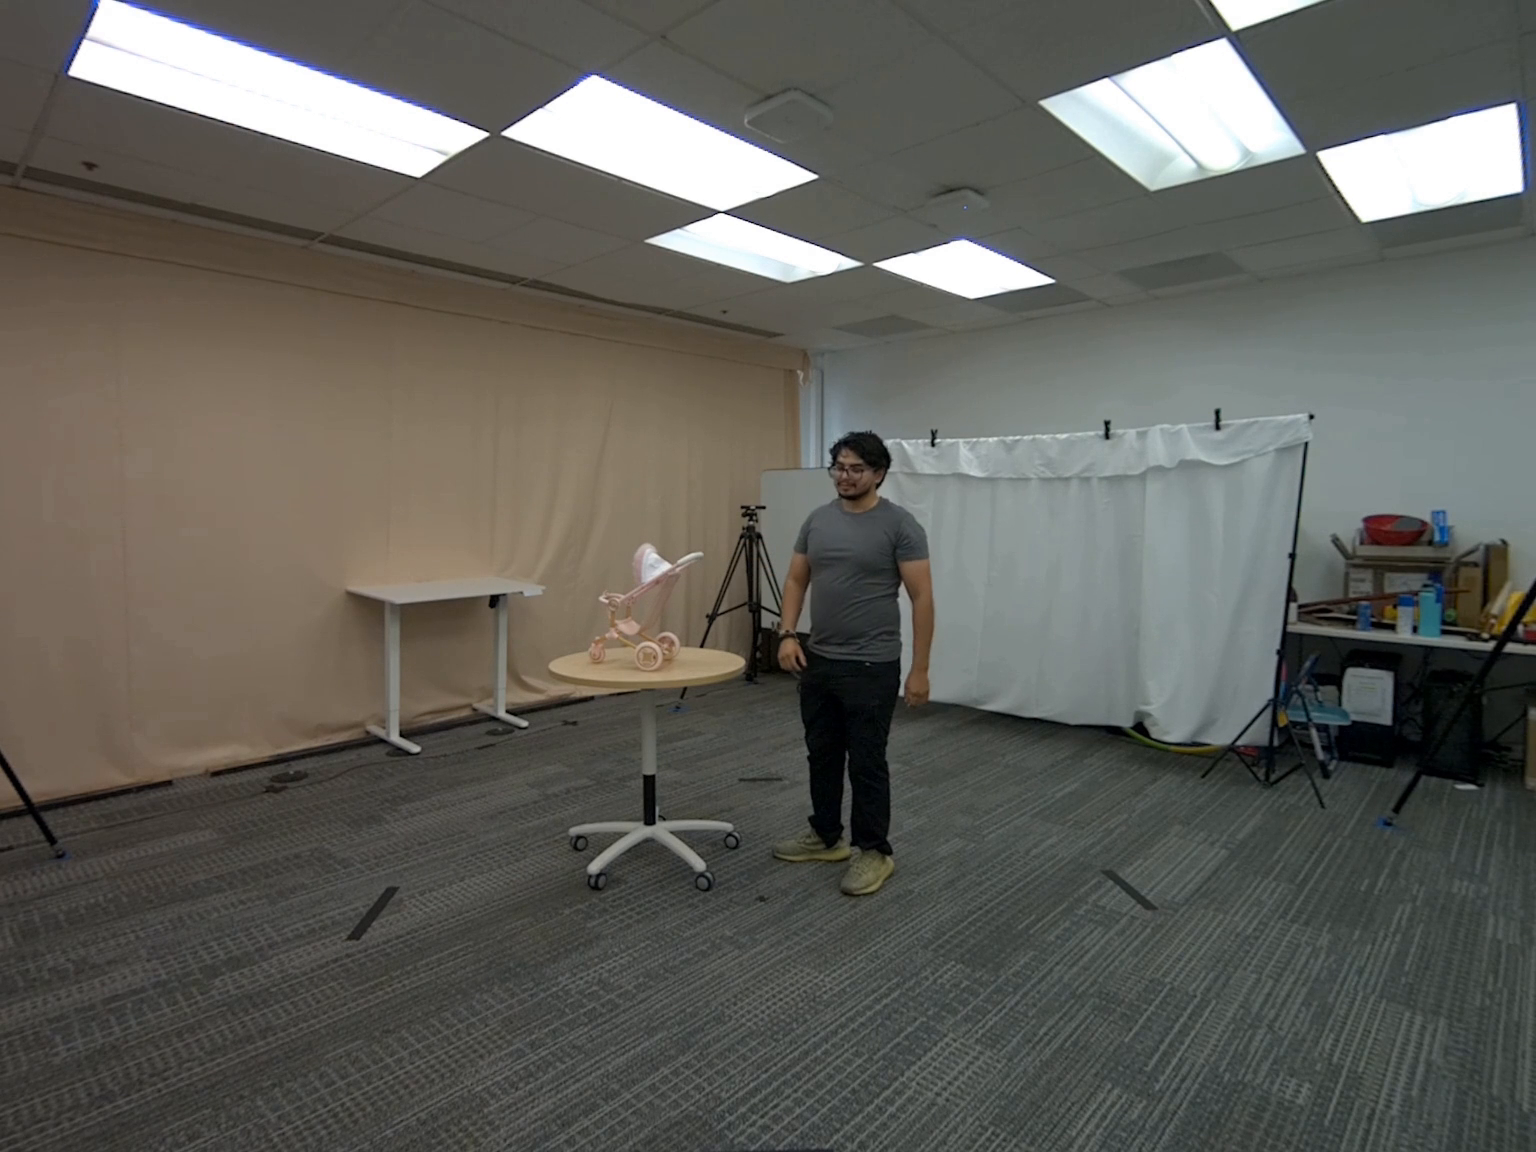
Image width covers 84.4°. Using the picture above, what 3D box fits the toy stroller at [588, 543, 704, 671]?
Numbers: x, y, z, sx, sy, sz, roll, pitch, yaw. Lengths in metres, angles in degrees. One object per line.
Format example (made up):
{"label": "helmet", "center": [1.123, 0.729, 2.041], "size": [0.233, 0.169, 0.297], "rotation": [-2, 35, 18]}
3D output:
{"label": "toy stroller", "center": [-0.487, 0.121, 3.241], "size": [0.347, 0.533, 0.277], "rotation": [17, 7, 14]}
